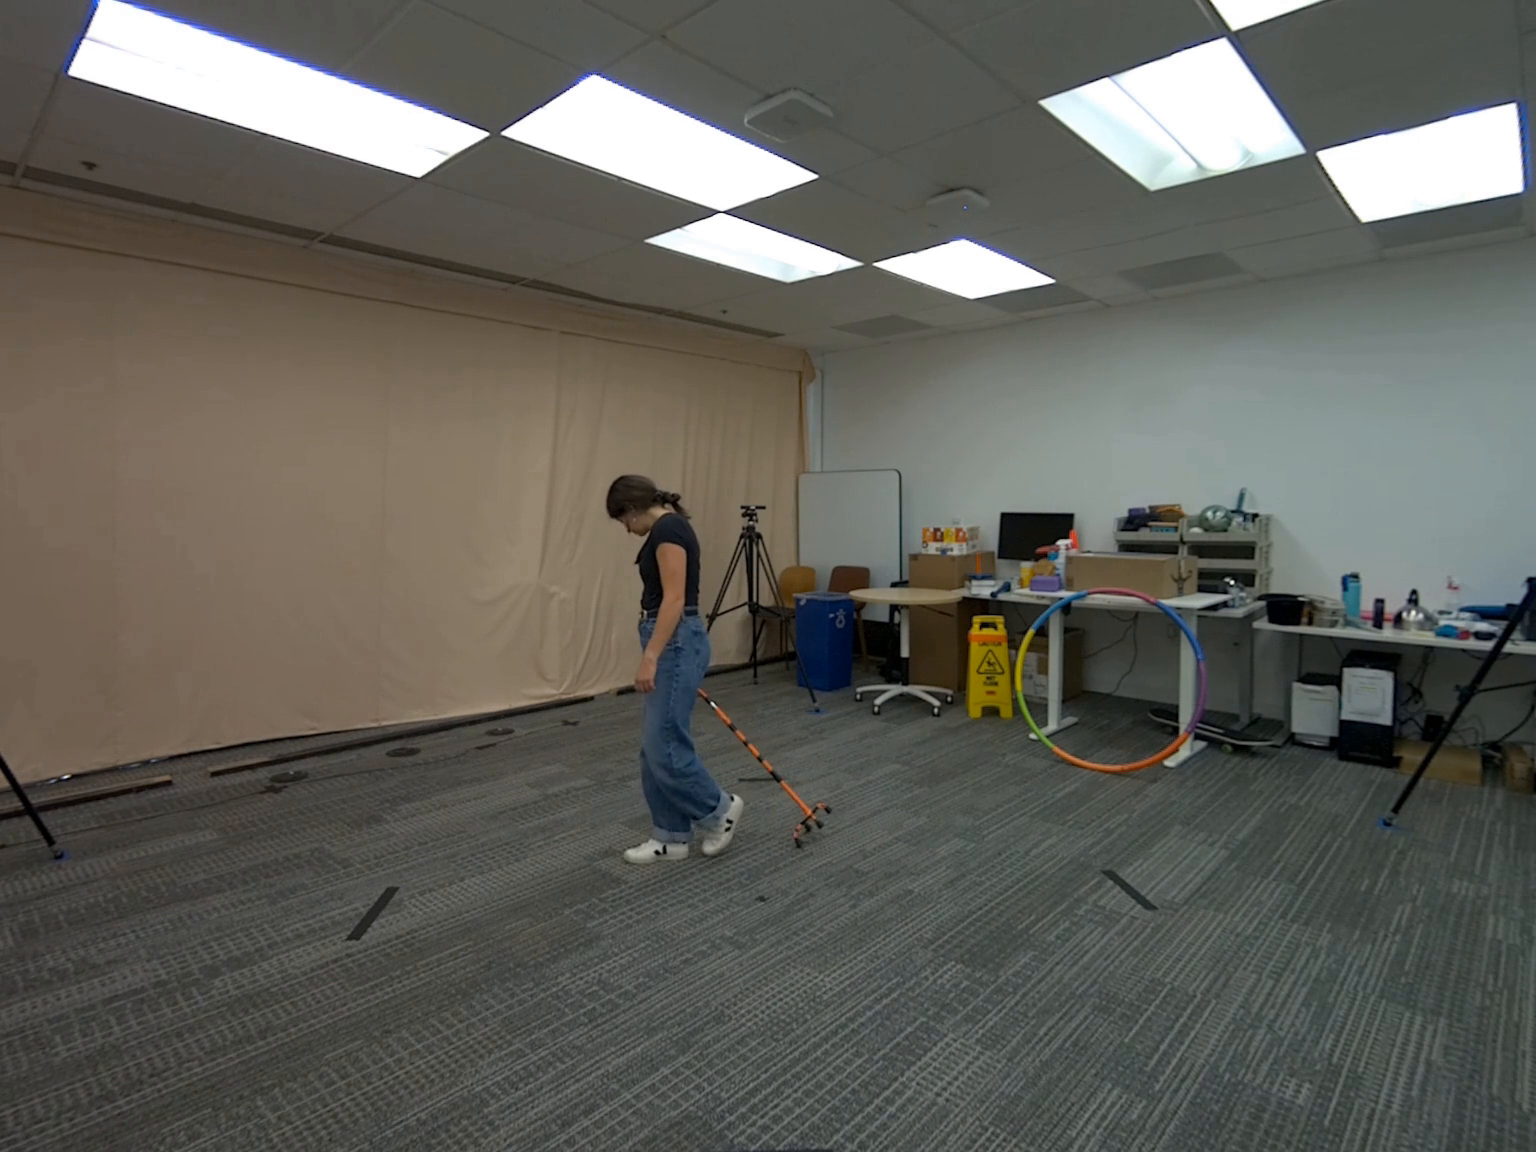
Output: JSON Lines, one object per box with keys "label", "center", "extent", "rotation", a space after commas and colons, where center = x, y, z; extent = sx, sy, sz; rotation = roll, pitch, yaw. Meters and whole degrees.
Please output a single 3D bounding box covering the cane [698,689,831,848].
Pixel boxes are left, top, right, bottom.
{"label": "cane", "center": [-0.098, 0.721, 3.583], "extent": [0.152, 0.921, 0.202], "rotation": [-46, -12, 14]}
